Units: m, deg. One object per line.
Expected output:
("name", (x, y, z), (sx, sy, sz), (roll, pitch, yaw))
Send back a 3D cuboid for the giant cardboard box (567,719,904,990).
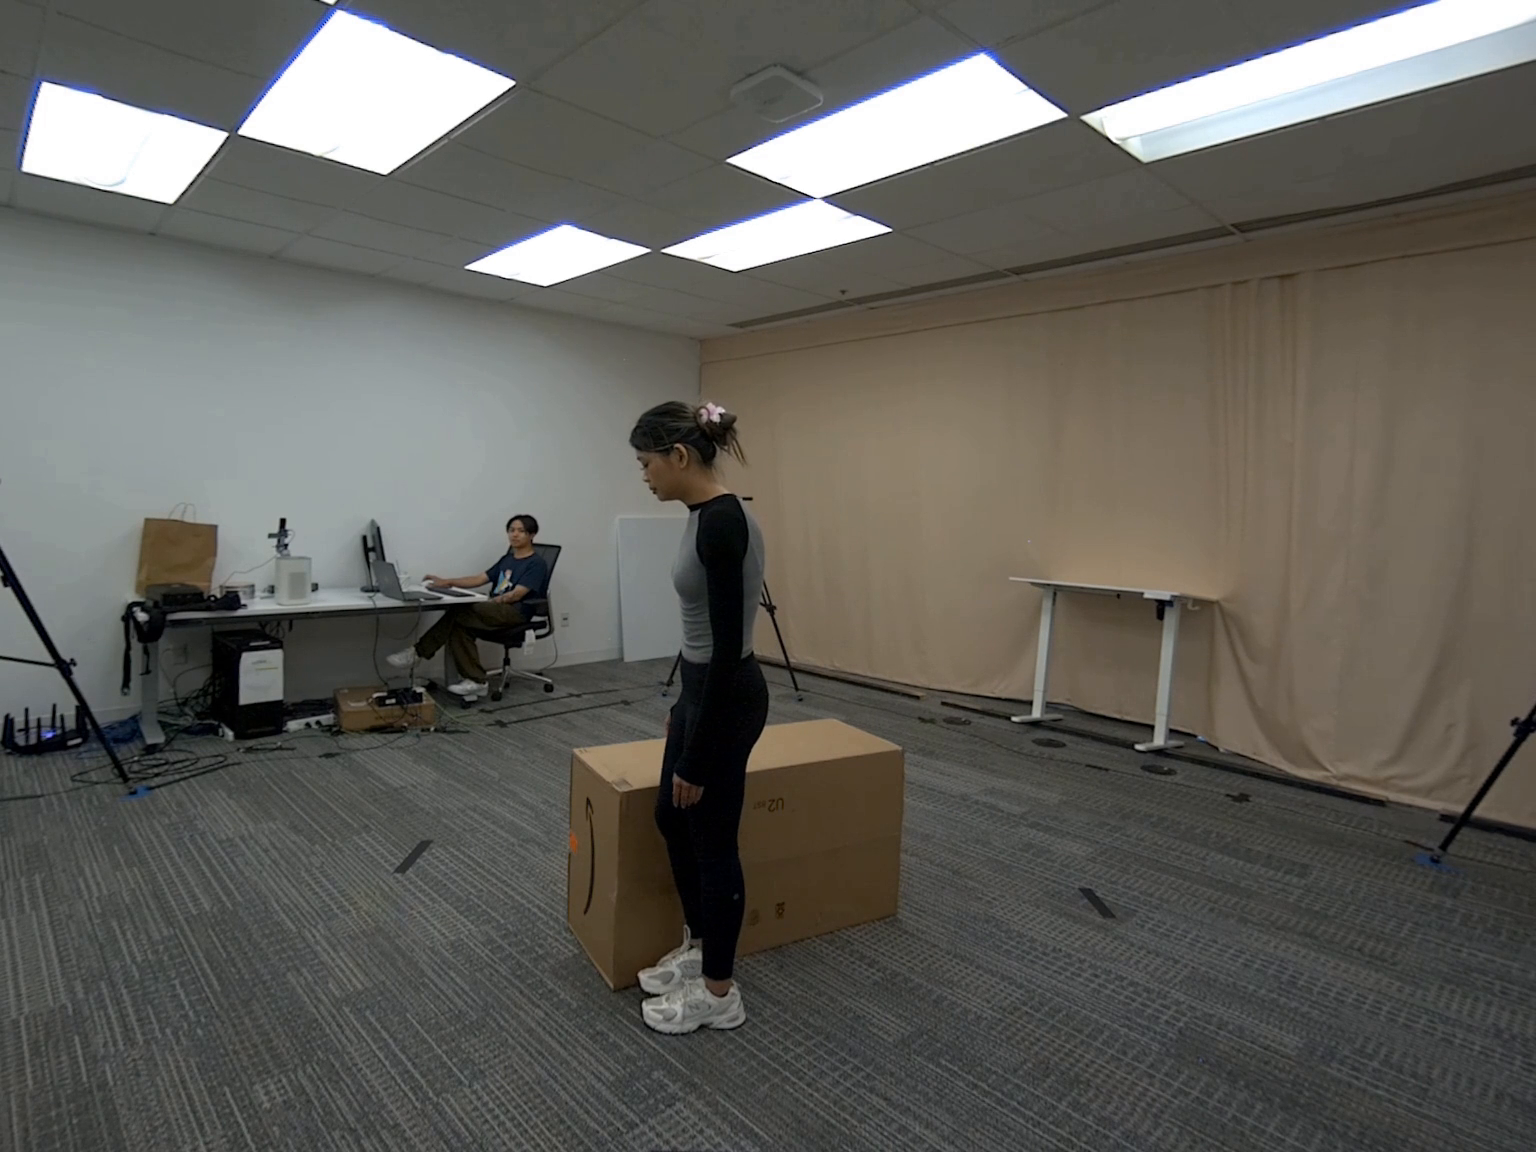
("giant cardboard box", (-0.101, 0.852, 2.772), (1.005, 0.576, 0.436), (-1, 5, -29))
